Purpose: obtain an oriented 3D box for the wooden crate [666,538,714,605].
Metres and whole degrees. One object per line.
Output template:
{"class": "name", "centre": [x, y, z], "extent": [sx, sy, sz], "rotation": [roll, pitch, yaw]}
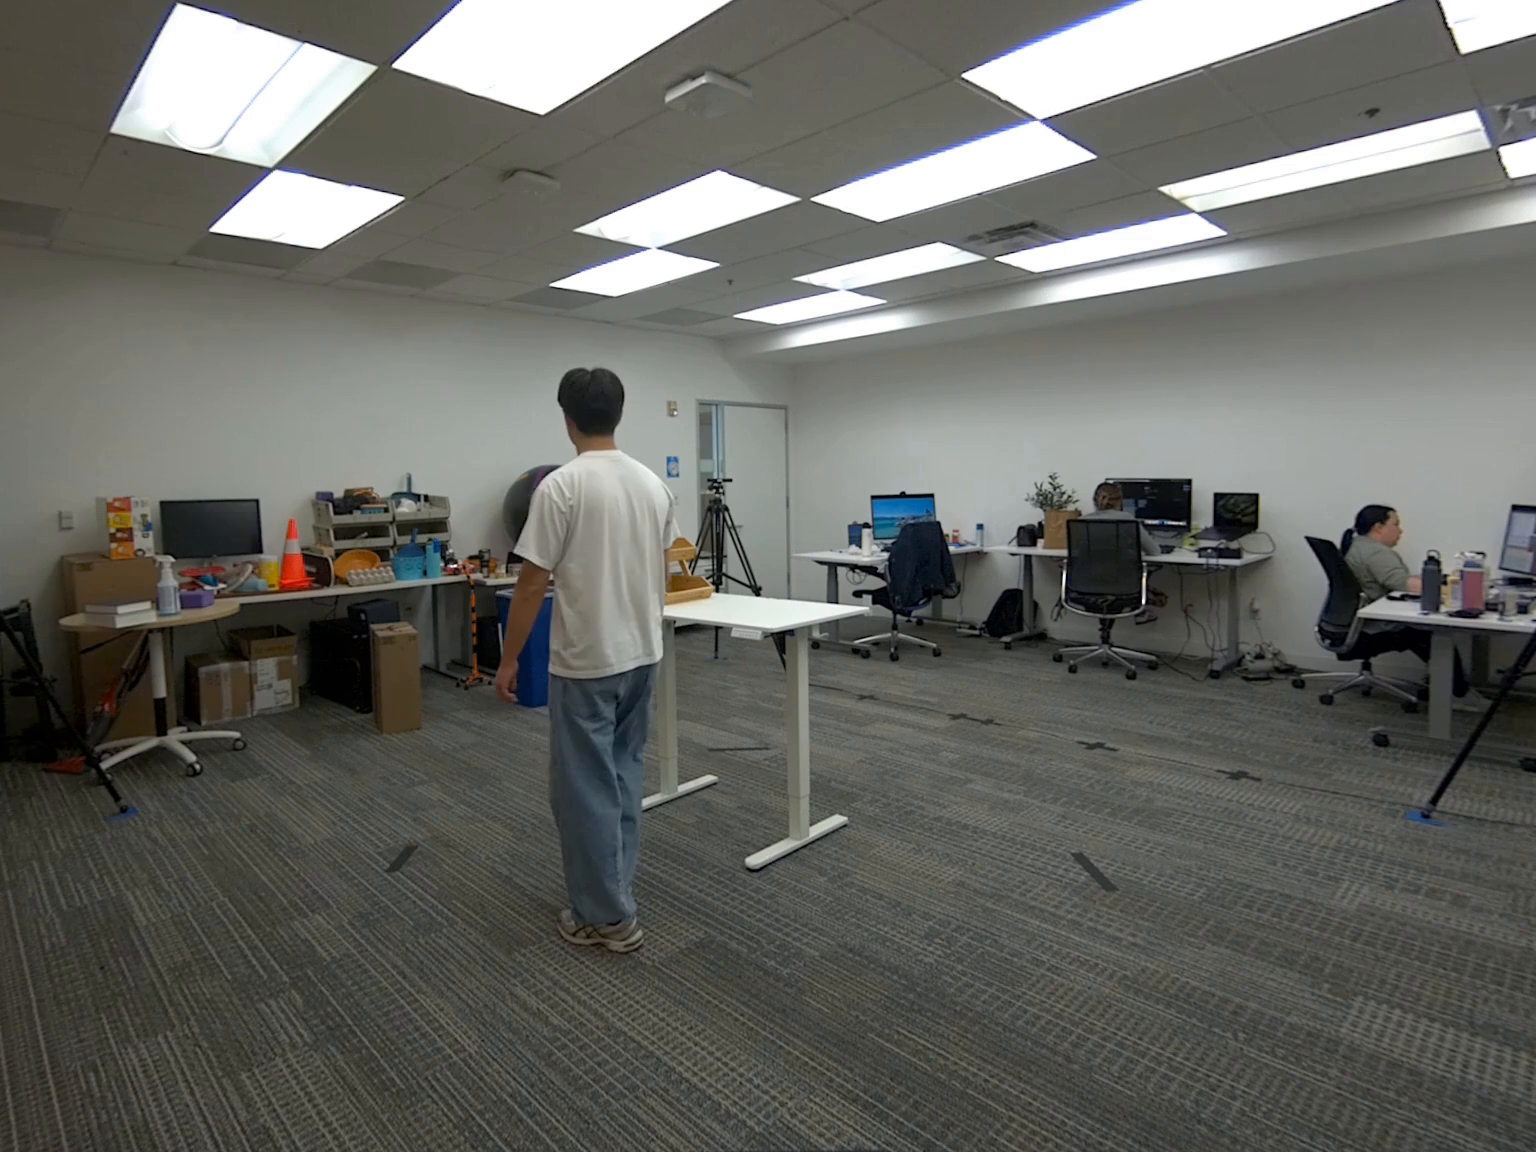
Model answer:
{"class": "wooden crate", "centre": [-0.450, -0.029, 3.725], "extent": [0.311, 0.272, 0.316], "rotation": [2, 5, 37]}
